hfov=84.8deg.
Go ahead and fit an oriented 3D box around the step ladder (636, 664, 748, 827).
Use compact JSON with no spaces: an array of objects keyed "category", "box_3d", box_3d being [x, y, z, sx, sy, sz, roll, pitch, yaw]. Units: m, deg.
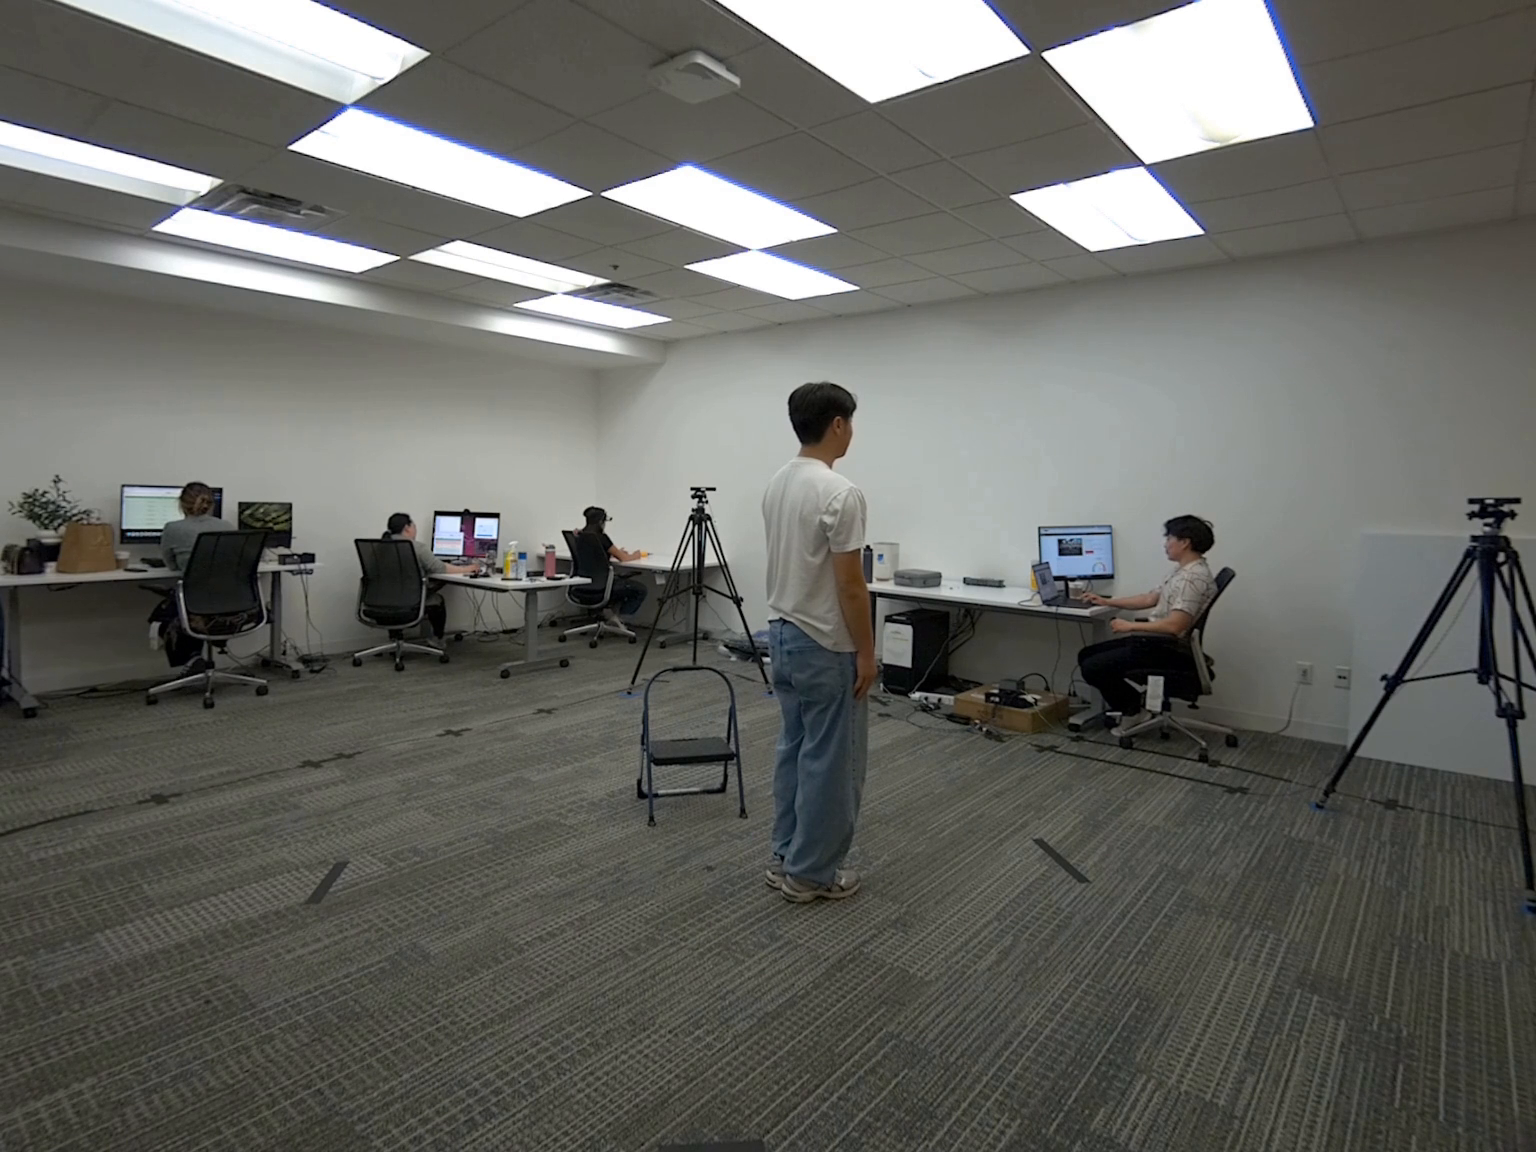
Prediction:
[{"category":"step ladder","box_3d":[-0.343,0.707,3.694,0.423,0.604,0.356,0,3,-17]}]
